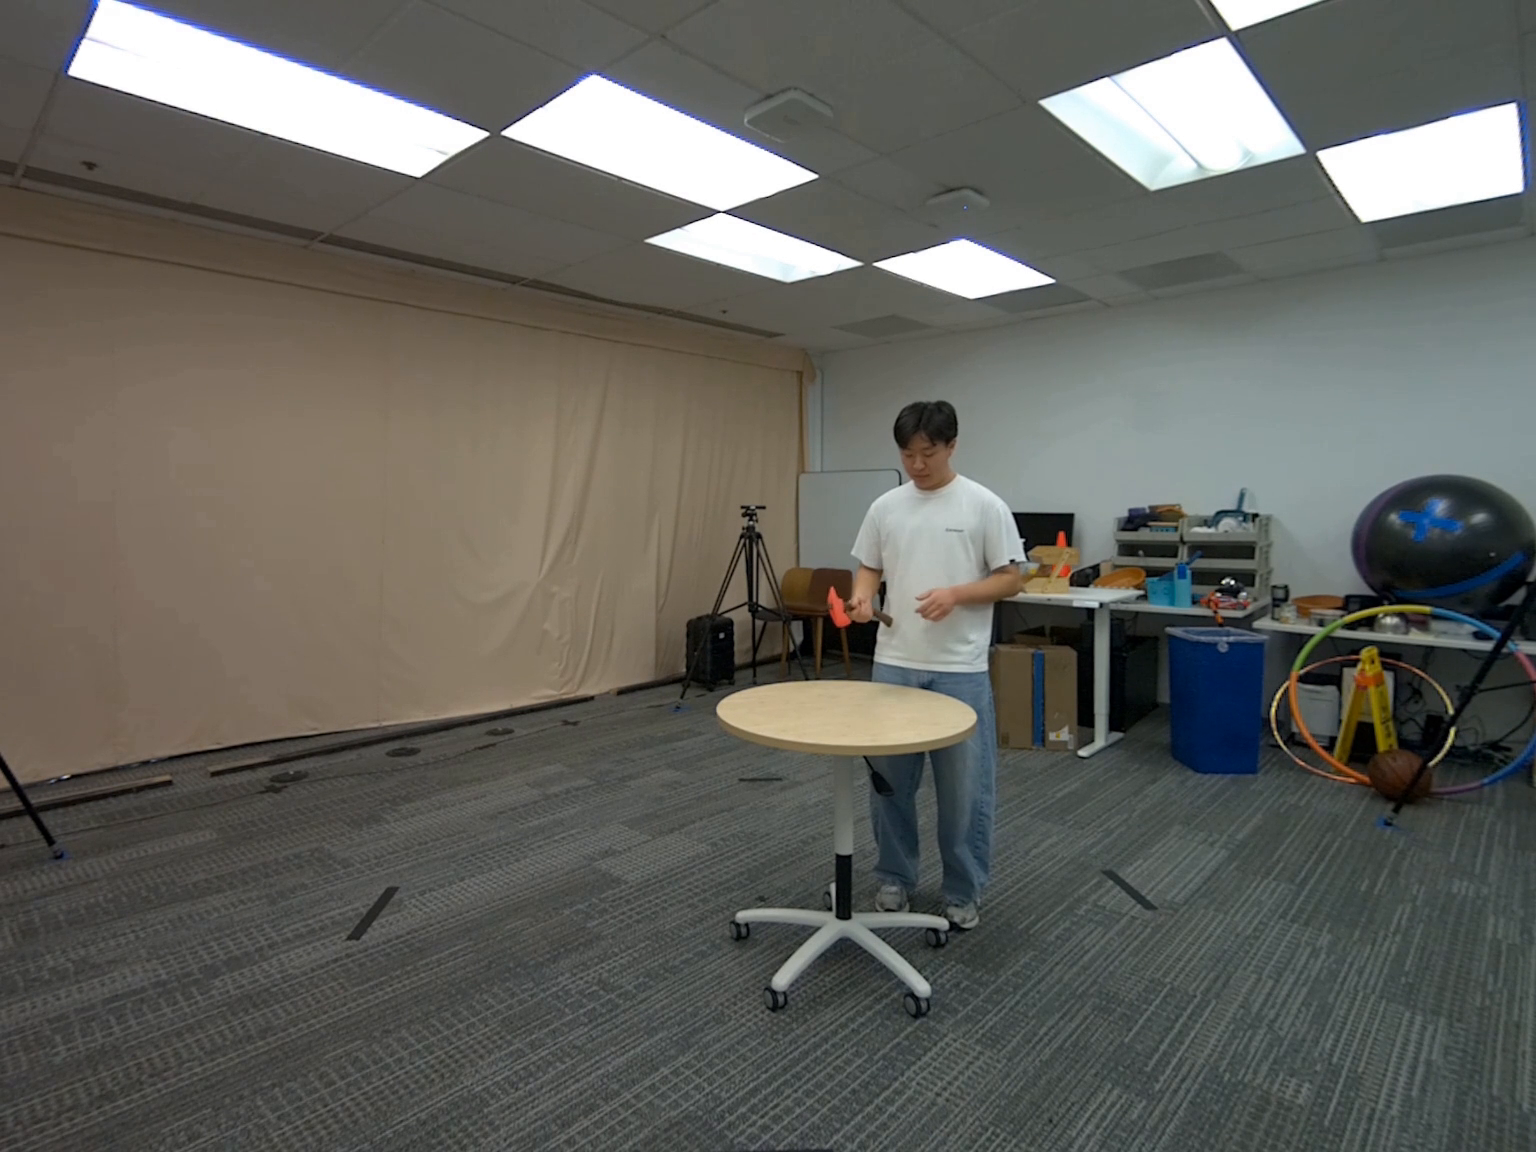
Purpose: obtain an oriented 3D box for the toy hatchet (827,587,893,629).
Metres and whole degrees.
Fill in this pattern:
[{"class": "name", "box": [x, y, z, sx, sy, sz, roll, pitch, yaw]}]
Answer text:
[{"class": "toy hatchet", "box": [0.322, 0.139, 2.764, 0.263, 0.132, 0.030, 26, -34, -22]}]
